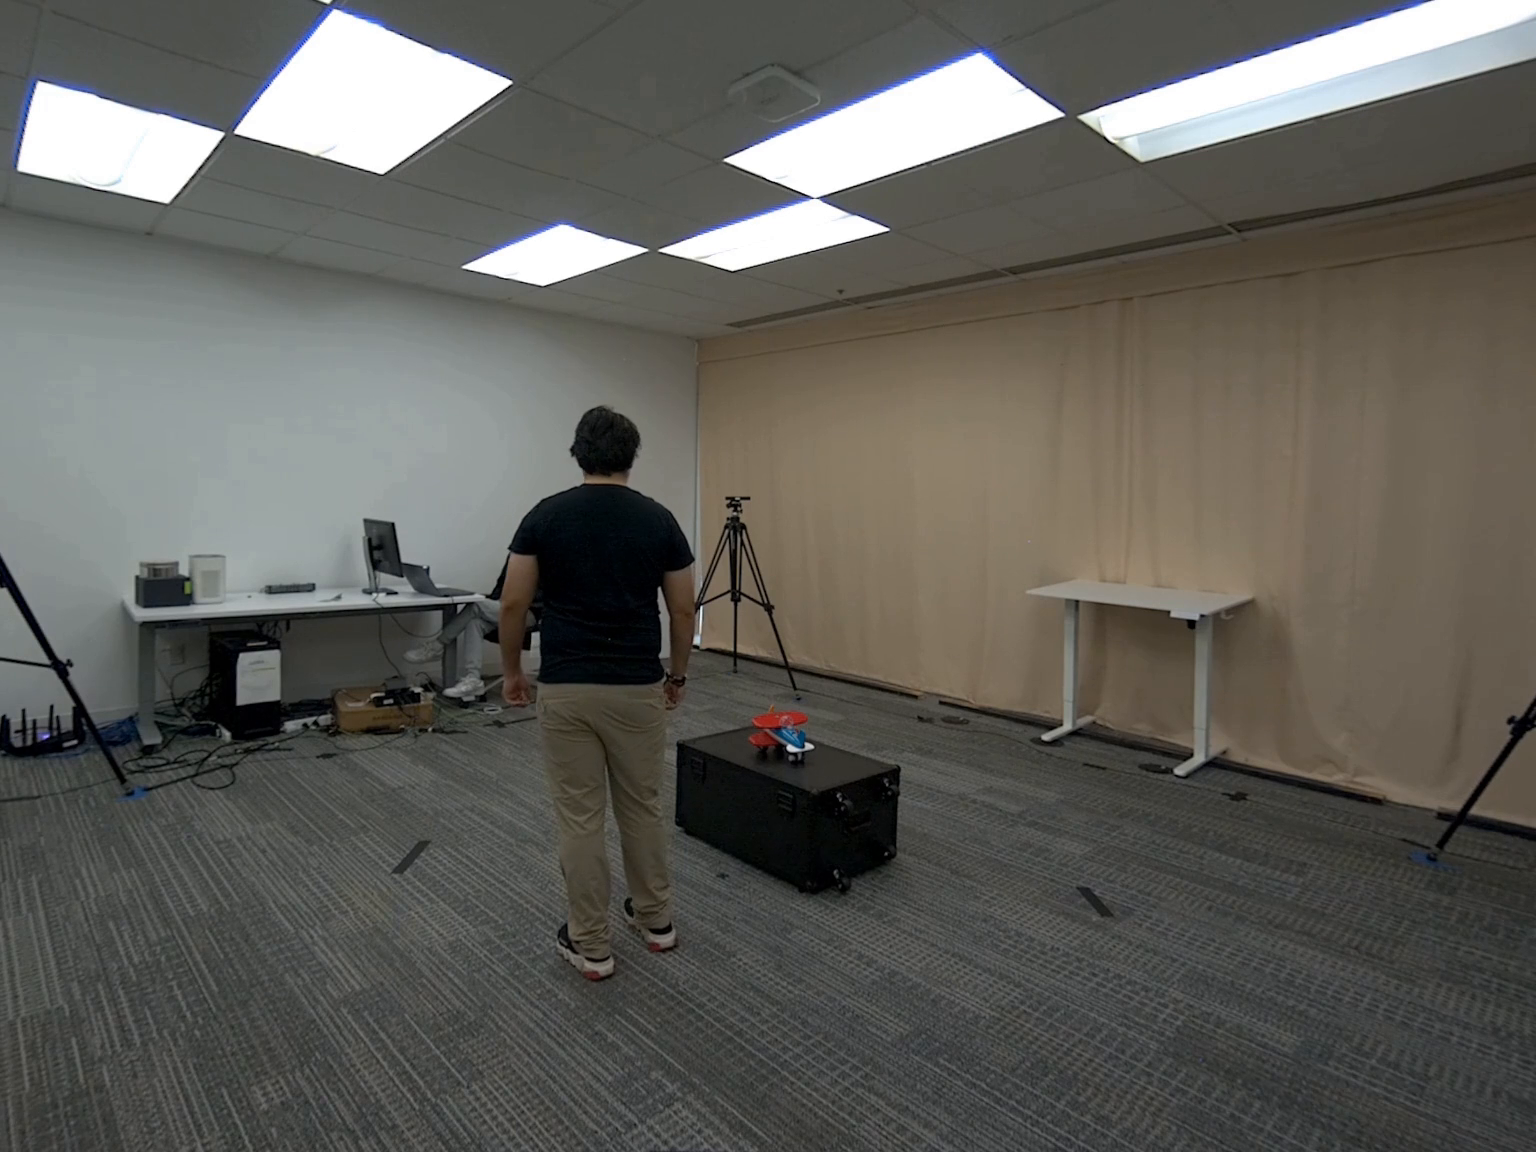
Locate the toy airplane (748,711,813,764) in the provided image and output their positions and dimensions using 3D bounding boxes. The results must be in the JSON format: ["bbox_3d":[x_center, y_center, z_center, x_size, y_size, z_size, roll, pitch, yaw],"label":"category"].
[{"bbox_3d":[0.066,0.636,3.362,0.264,0.156,0.246,2,4,27],"label":"toy airplane"}]
